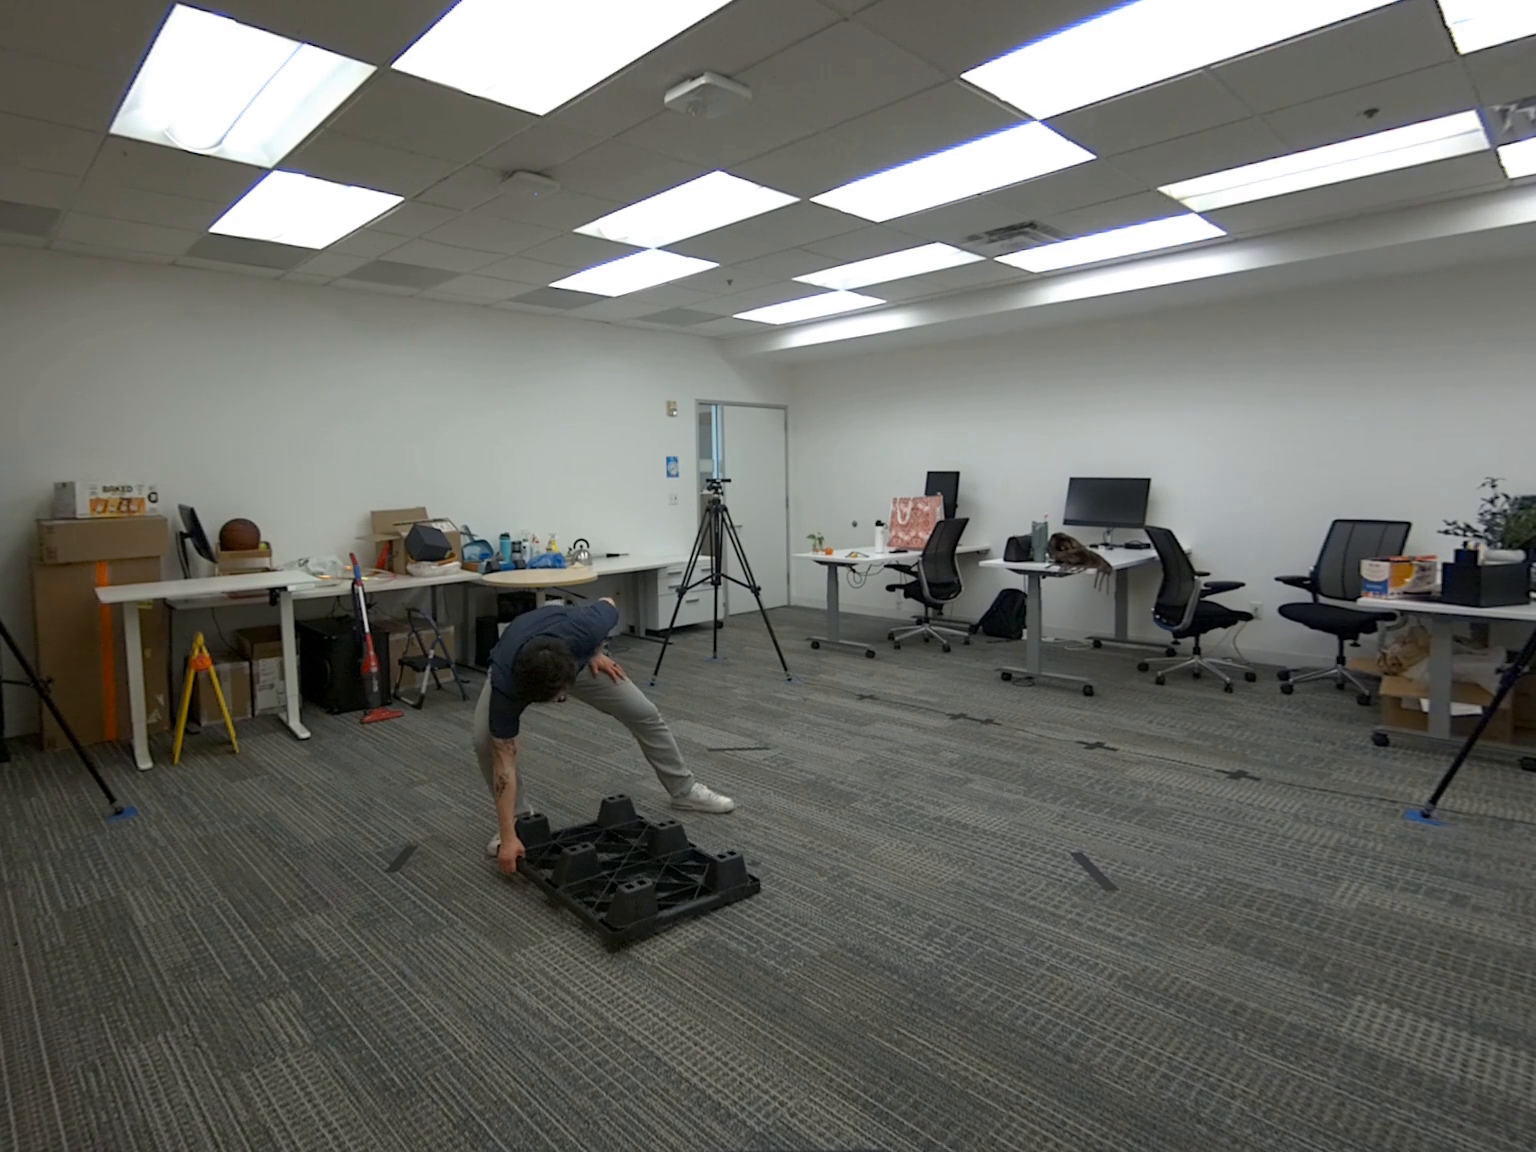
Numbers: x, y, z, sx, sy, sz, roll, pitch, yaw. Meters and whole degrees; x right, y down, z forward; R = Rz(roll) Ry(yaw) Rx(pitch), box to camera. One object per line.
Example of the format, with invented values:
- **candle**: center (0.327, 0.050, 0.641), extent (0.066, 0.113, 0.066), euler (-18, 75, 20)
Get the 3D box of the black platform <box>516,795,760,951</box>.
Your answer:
- **black platform**: center (-0.514, 0.973, 2.994), extent (0.588, 0.143, 0.831), euler (-2, 5, -42)
